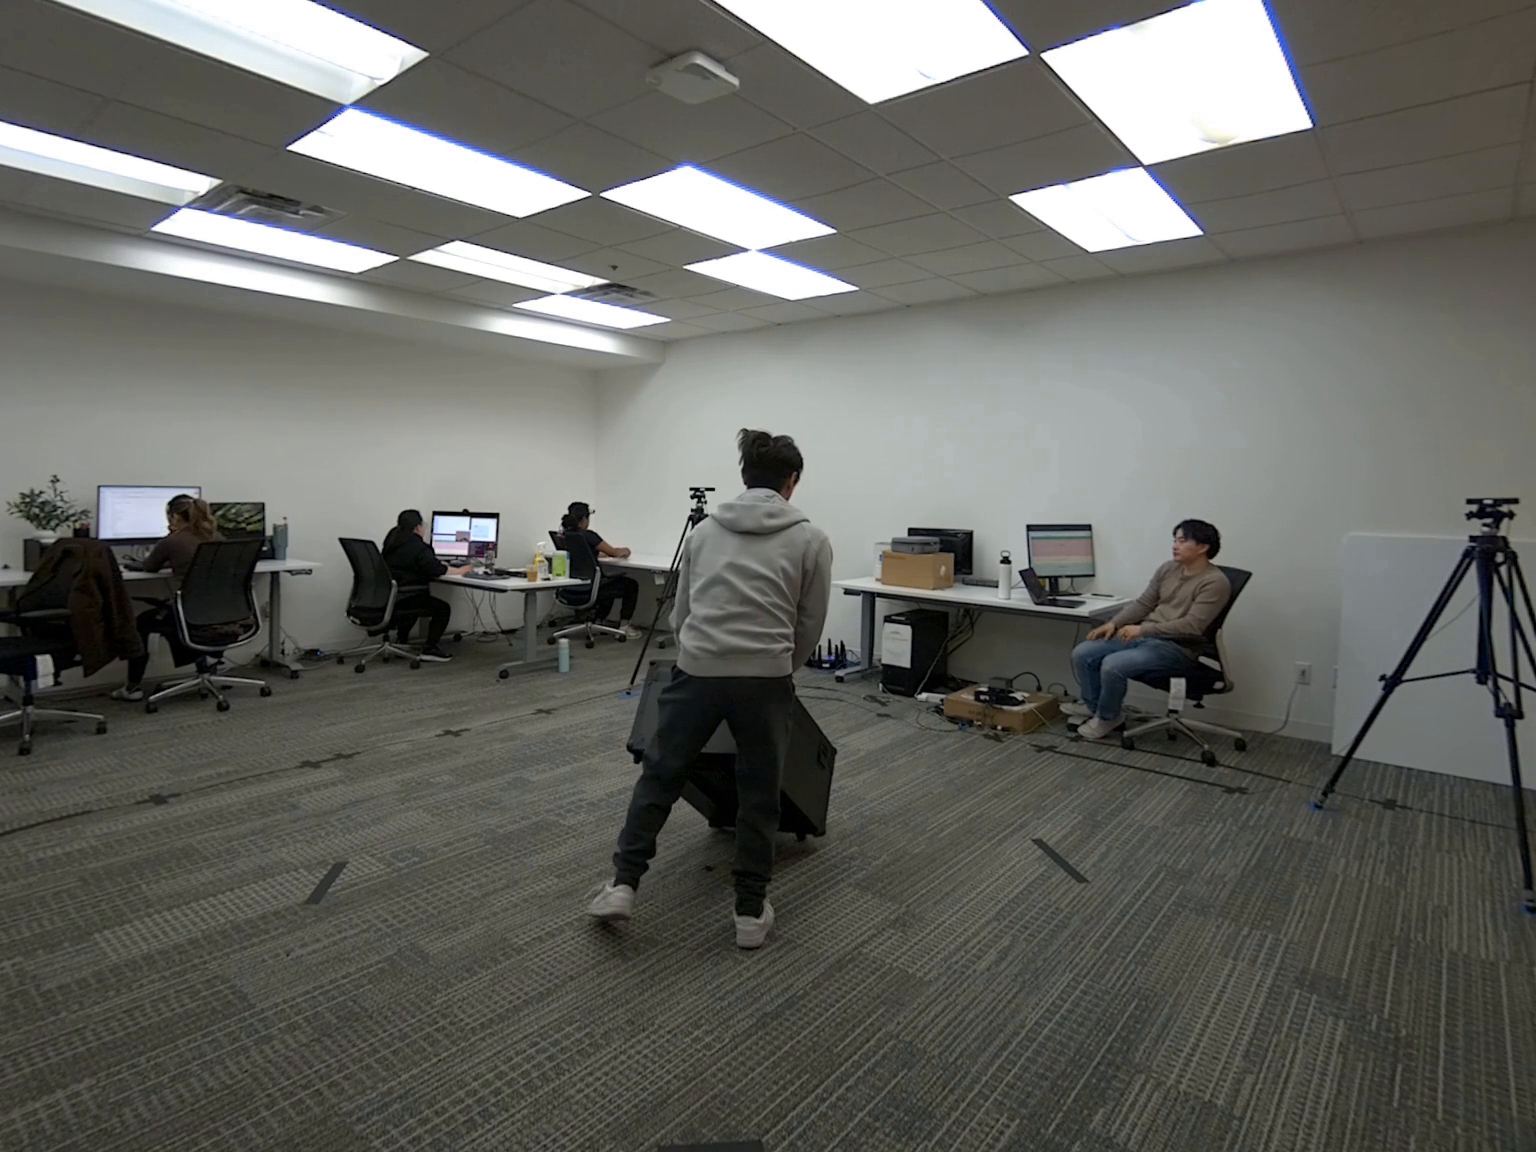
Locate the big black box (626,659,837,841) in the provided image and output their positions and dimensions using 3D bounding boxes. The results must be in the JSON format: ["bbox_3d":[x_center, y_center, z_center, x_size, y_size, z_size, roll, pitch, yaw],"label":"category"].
[{"bbox_3d":[-0.103,0.684,3.245,0.533,0.404,0.826,-4,-36,25],"label":"big black box"}]
